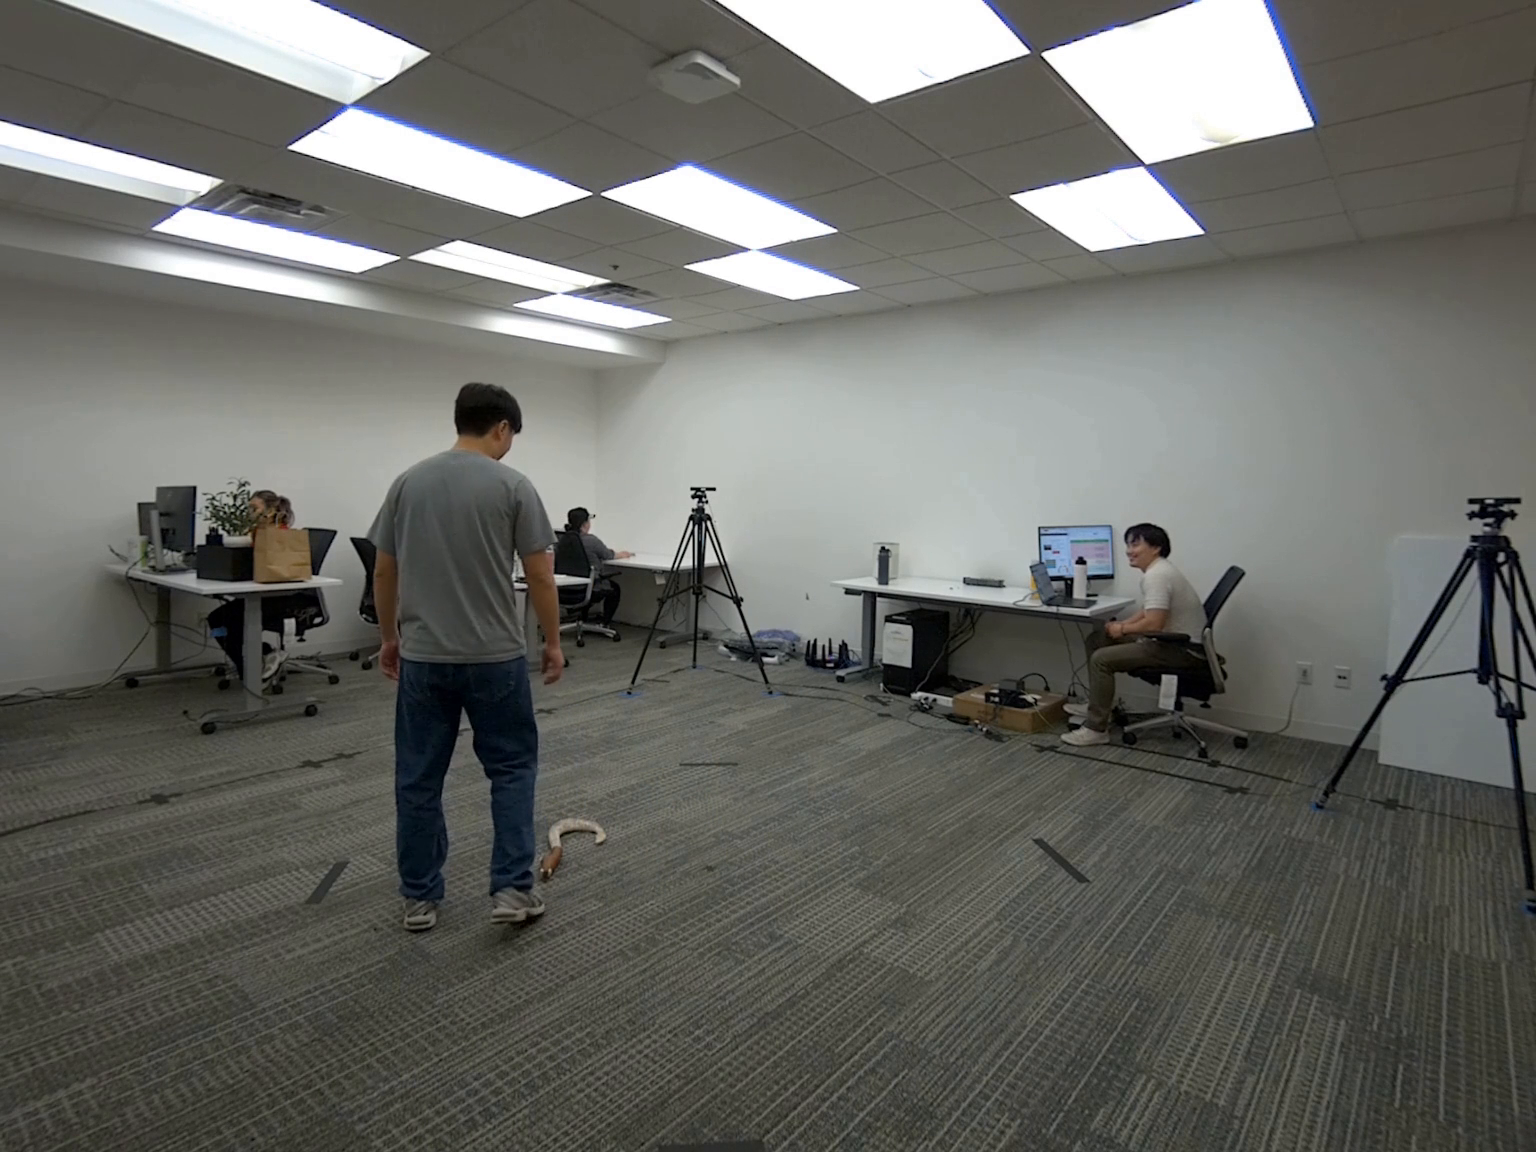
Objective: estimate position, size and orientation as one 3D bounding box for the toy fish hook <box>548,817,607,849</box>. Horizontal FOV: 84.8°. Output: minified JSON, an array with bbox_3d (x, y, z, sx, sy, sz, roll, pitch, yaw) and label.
[{"bbox_3d":[-0.755,1.022,3.224,0.224,0.048,0.509,0,6,-3],"label":"toy fish hook"}]
